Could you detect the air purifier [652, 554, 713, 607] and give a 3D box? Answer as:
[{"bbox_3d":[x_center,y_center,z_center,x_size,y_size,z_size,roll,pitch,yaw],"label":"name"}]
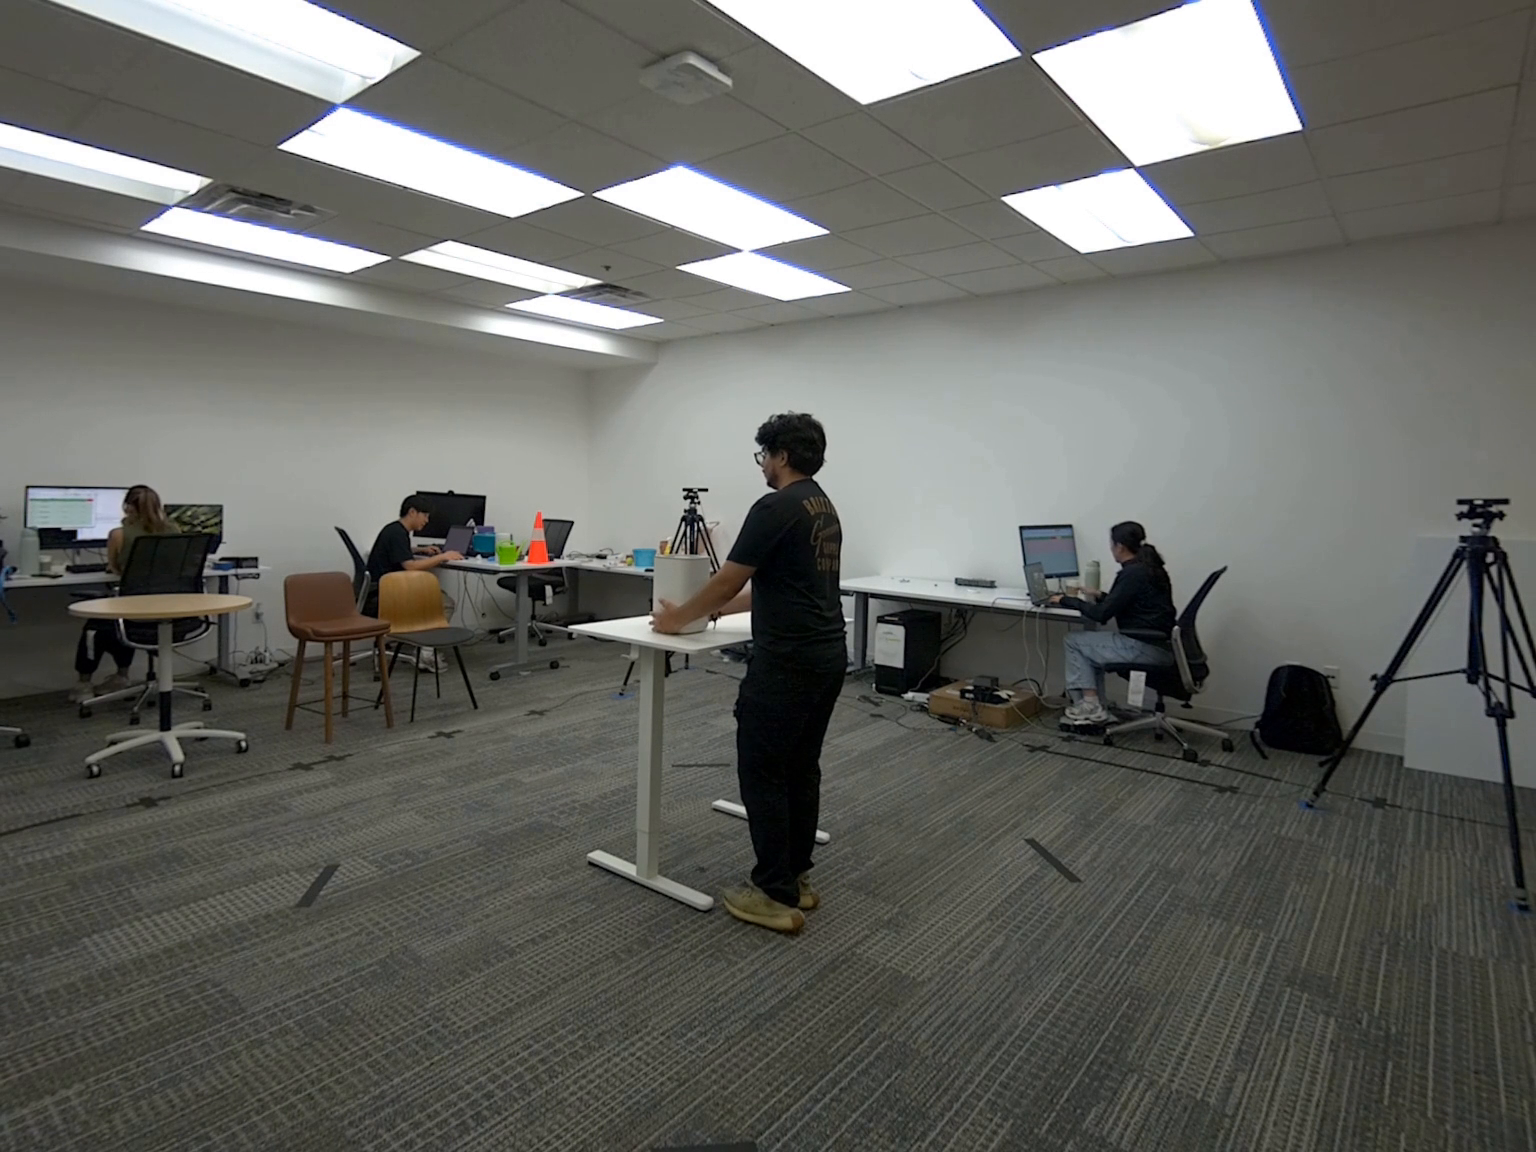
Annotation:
[{"bbox_3d":[-0.316,0.057,3.014,0.176,0.264,0.167,4,5,34],"label":"air purifier"}]
